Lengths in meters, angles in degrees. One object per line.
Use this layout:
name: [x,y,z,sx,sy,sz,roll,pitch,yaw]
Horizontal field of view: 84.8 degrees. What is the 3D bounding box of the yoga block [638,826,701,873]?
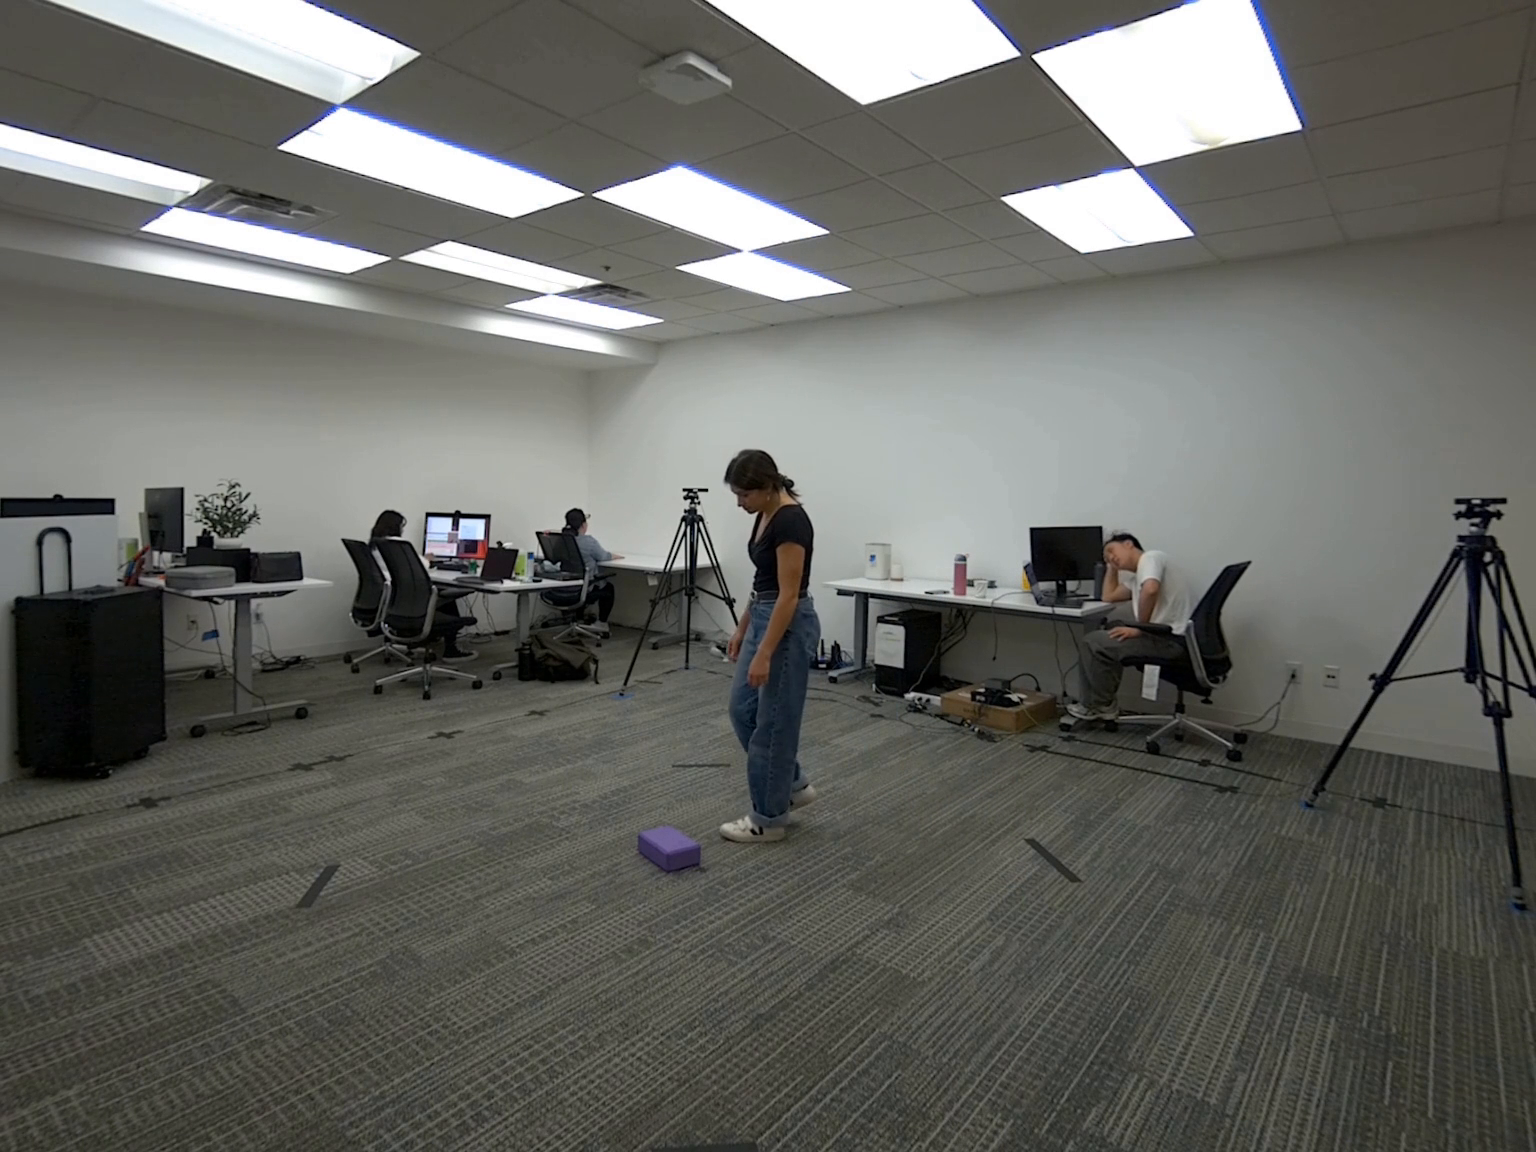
yoga block: [-0.373,1.014,3.200,0.145,0.076,0.237,-3,6,-36]
